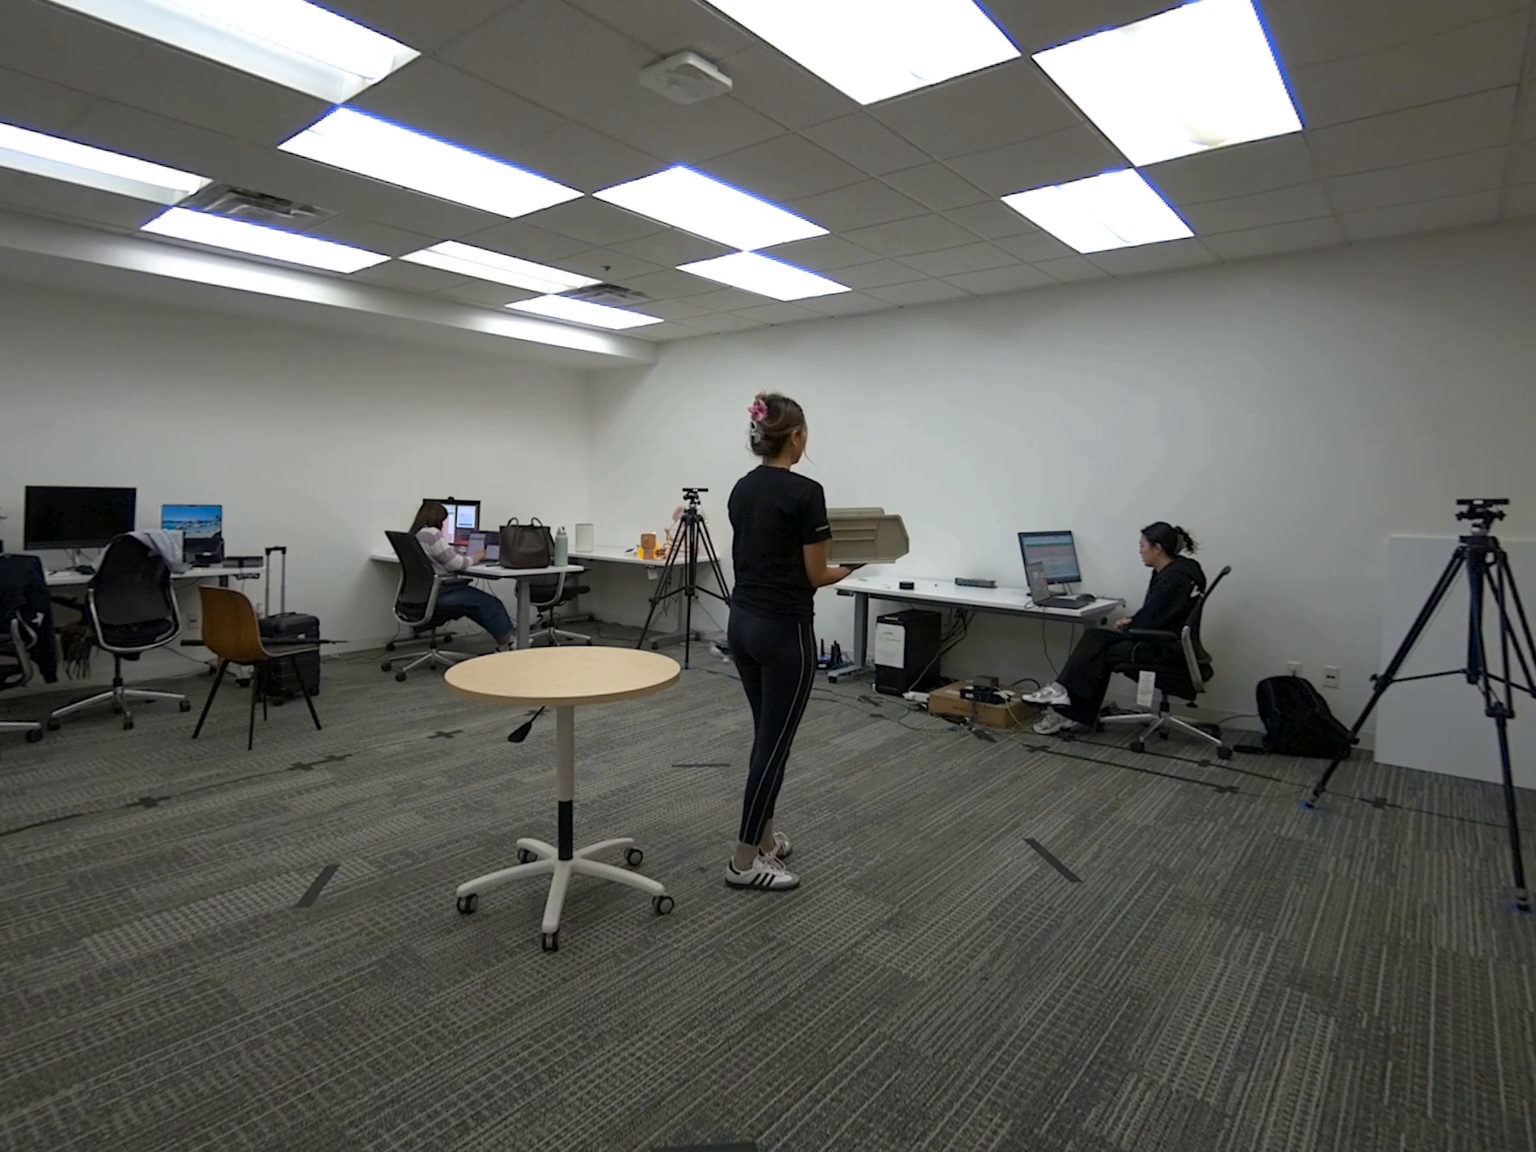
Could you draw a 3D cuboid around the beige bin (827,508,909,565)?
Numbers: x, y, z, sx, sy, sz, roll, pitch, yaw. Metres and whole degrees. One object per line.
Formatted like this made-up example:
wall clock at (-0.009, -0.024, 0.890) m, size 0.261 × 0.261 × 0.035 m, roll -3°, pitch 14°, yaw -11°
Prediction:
beige bin at (0.342, -0.165, 3.344) m, size 0.380 × 0.187 × 0.423 m, roll -2°, pitch 8°, yaw 5°
